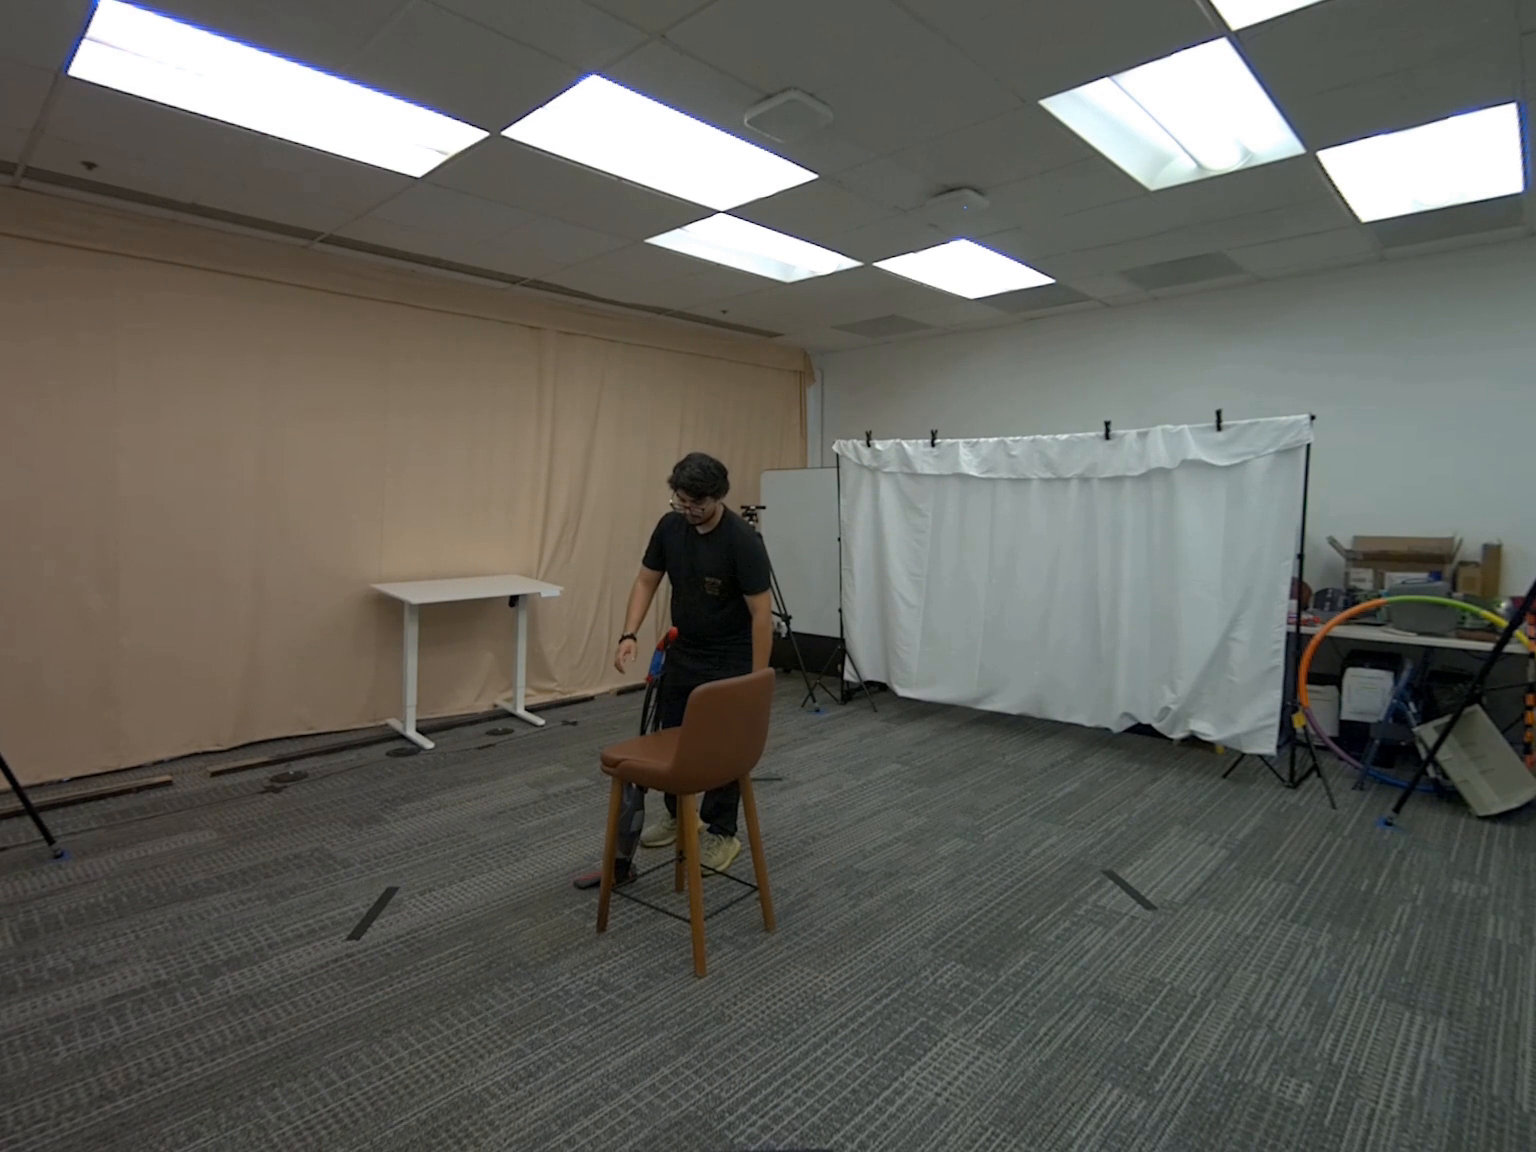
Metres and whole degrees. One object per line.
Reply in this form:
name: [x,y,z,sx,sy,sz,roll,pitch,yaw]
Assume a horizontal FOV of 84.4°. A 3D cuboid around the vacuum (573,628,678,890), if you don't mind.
vacuum: [-0.464,0.663,2.963,0.245,1.043,0.149,-3,27,-44]
